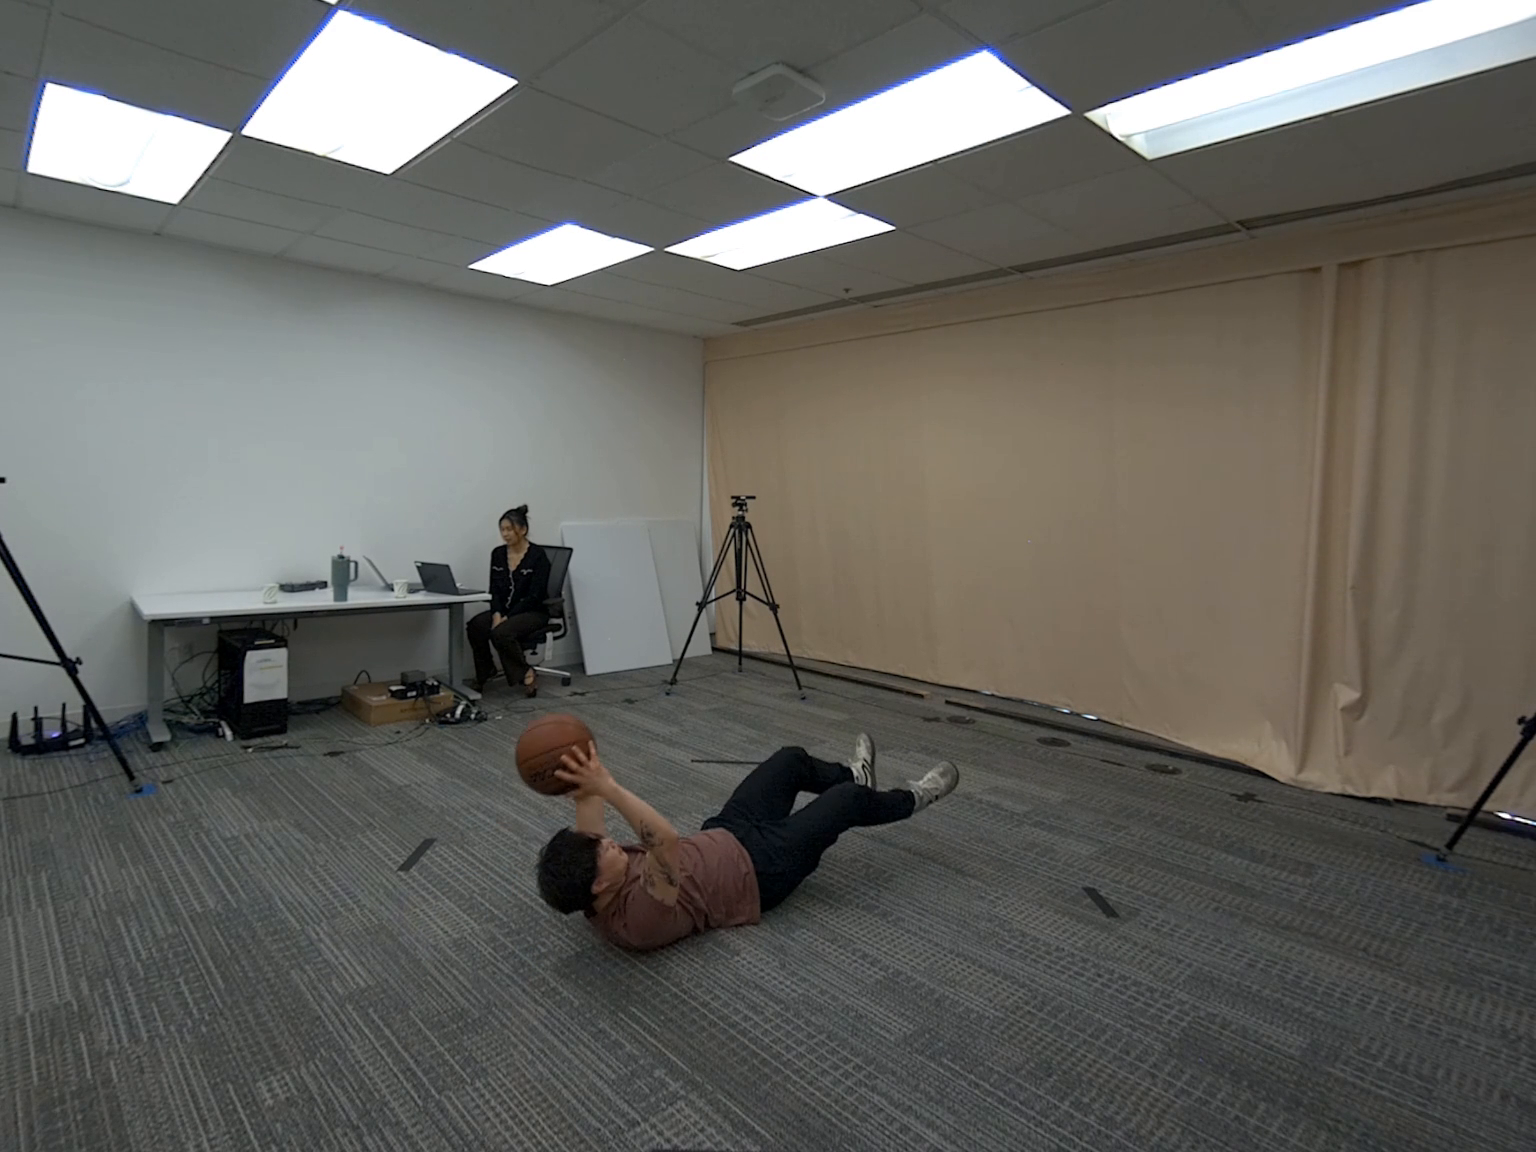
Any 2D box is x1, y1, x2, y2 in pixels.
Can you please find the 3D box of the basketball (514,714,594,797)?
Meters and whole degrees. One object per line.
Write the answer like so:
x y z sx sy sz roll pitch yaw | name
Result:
-0.623 0.535 2.458 0.236 0.235 0.237 2 4 -2 | basketball
